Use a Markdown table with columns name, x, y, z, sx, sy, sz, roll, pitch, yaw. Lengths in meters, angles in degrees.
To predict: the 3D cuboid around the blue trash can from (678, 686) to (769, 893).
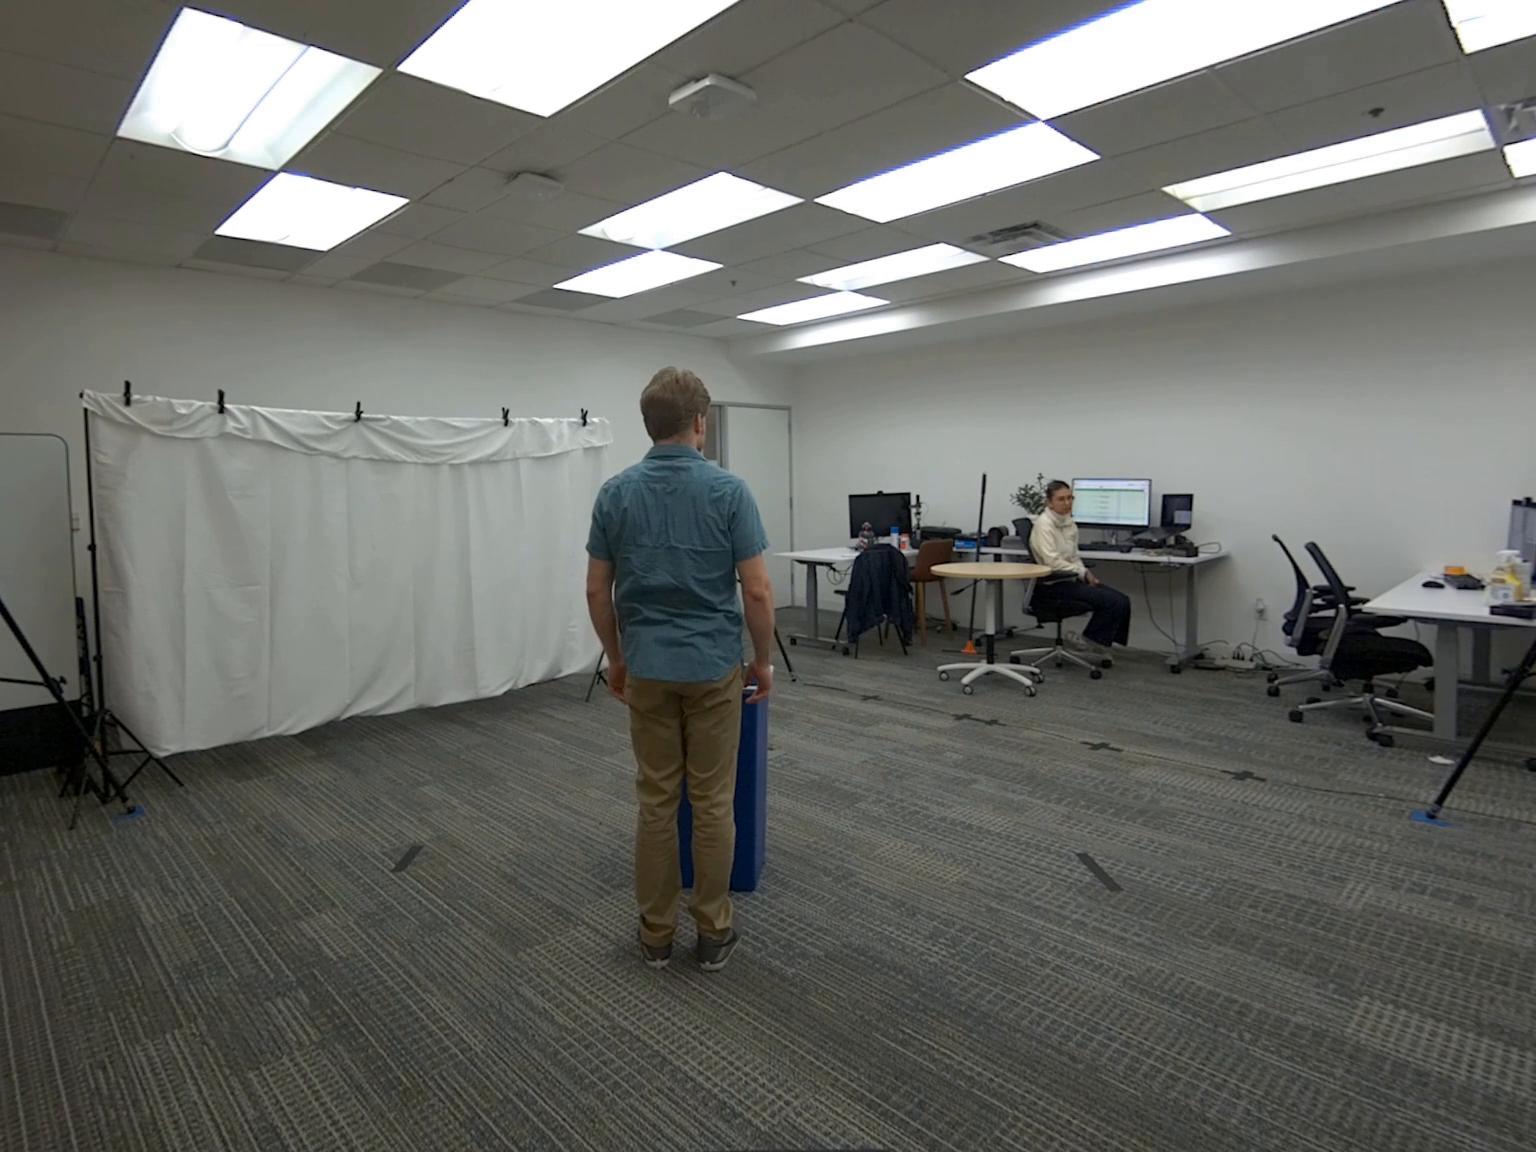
| name | x | y | z | sx | sy | sz | roll | pitch | yaw |
| --- | --- | --- | --- | --- | --- | --- | --- | --- | --- |
| blue trash can | -0.168 | 0.699 | 3.033 | 0.381 | 0.711 | 0.372 | 0 | 3 | 8 |
